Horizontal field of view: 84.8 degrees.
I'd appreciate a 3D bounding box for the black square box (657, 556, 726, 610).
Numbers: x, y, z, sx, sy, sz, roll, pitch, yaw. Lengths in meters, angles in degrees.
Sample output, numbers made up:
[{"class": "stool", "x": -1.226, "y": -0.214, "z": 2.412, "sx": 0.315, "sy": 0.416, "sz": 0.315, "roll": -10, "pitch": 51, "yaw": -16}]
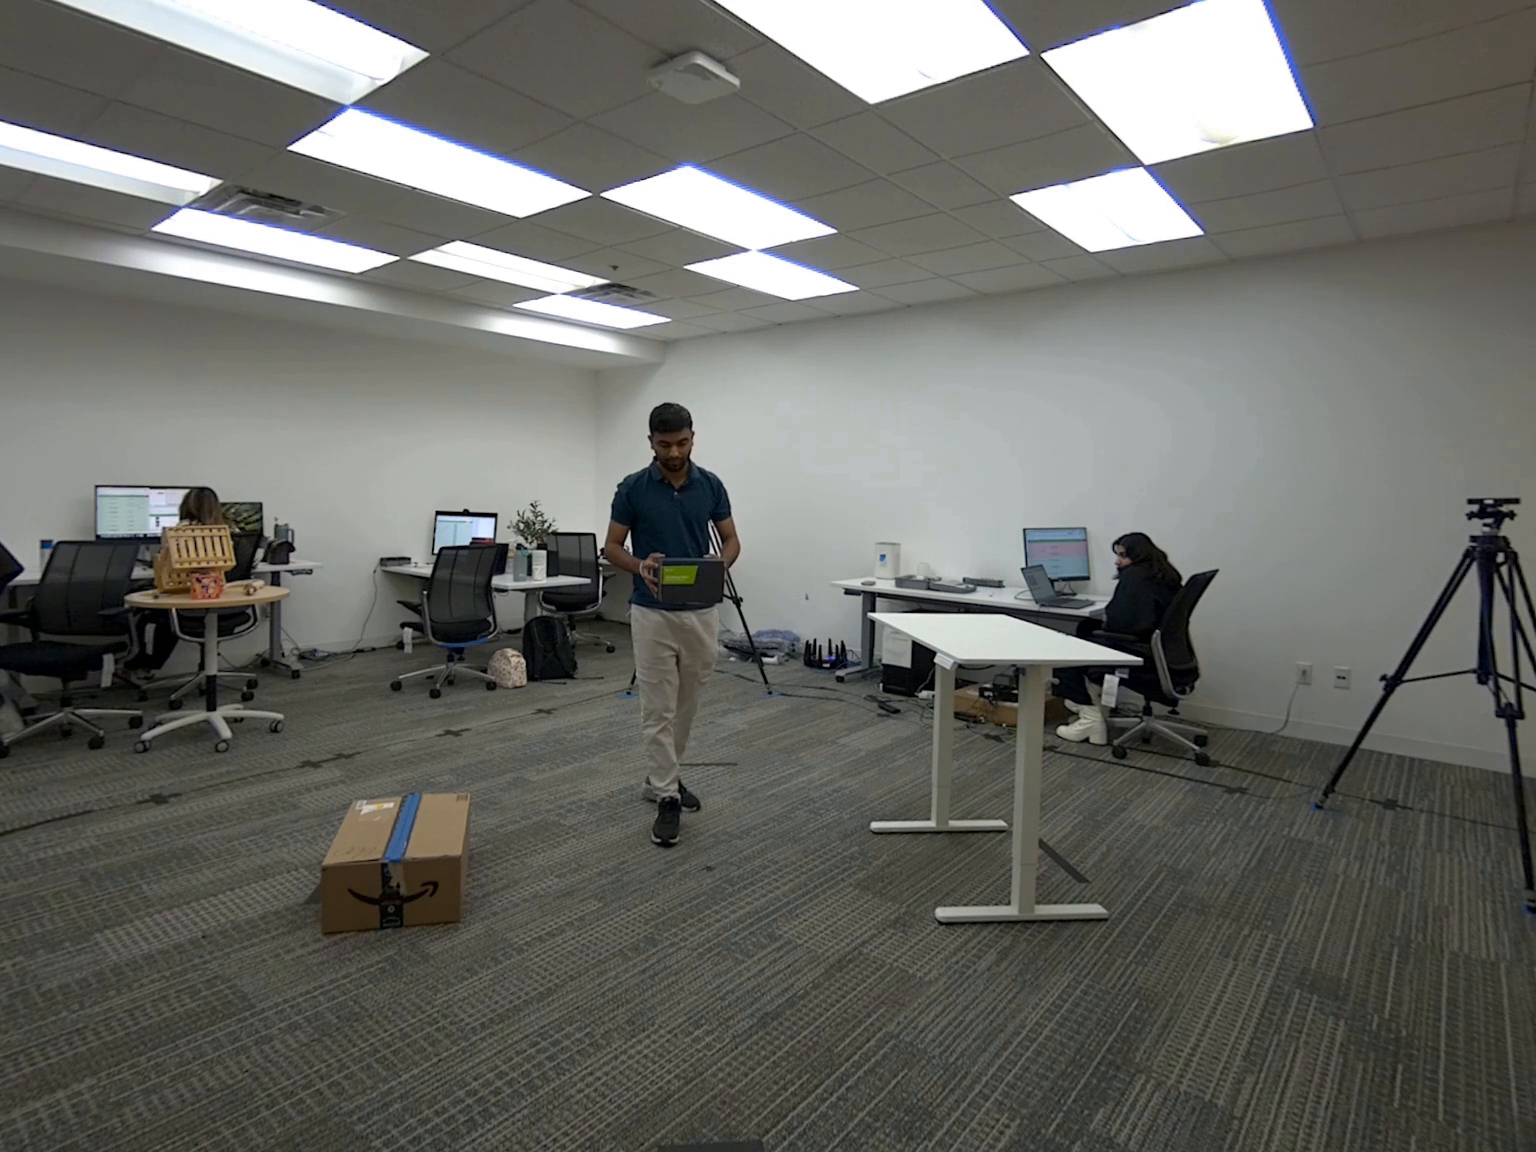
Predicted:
[{"class": "black square box", "x": -0.294, "y": 0.009, "z": 3.184, "sx": 0.227, "sy": 0.156, "sz": 0.218, "roll": 2, "pitch": 2, "yaw": -3}]
